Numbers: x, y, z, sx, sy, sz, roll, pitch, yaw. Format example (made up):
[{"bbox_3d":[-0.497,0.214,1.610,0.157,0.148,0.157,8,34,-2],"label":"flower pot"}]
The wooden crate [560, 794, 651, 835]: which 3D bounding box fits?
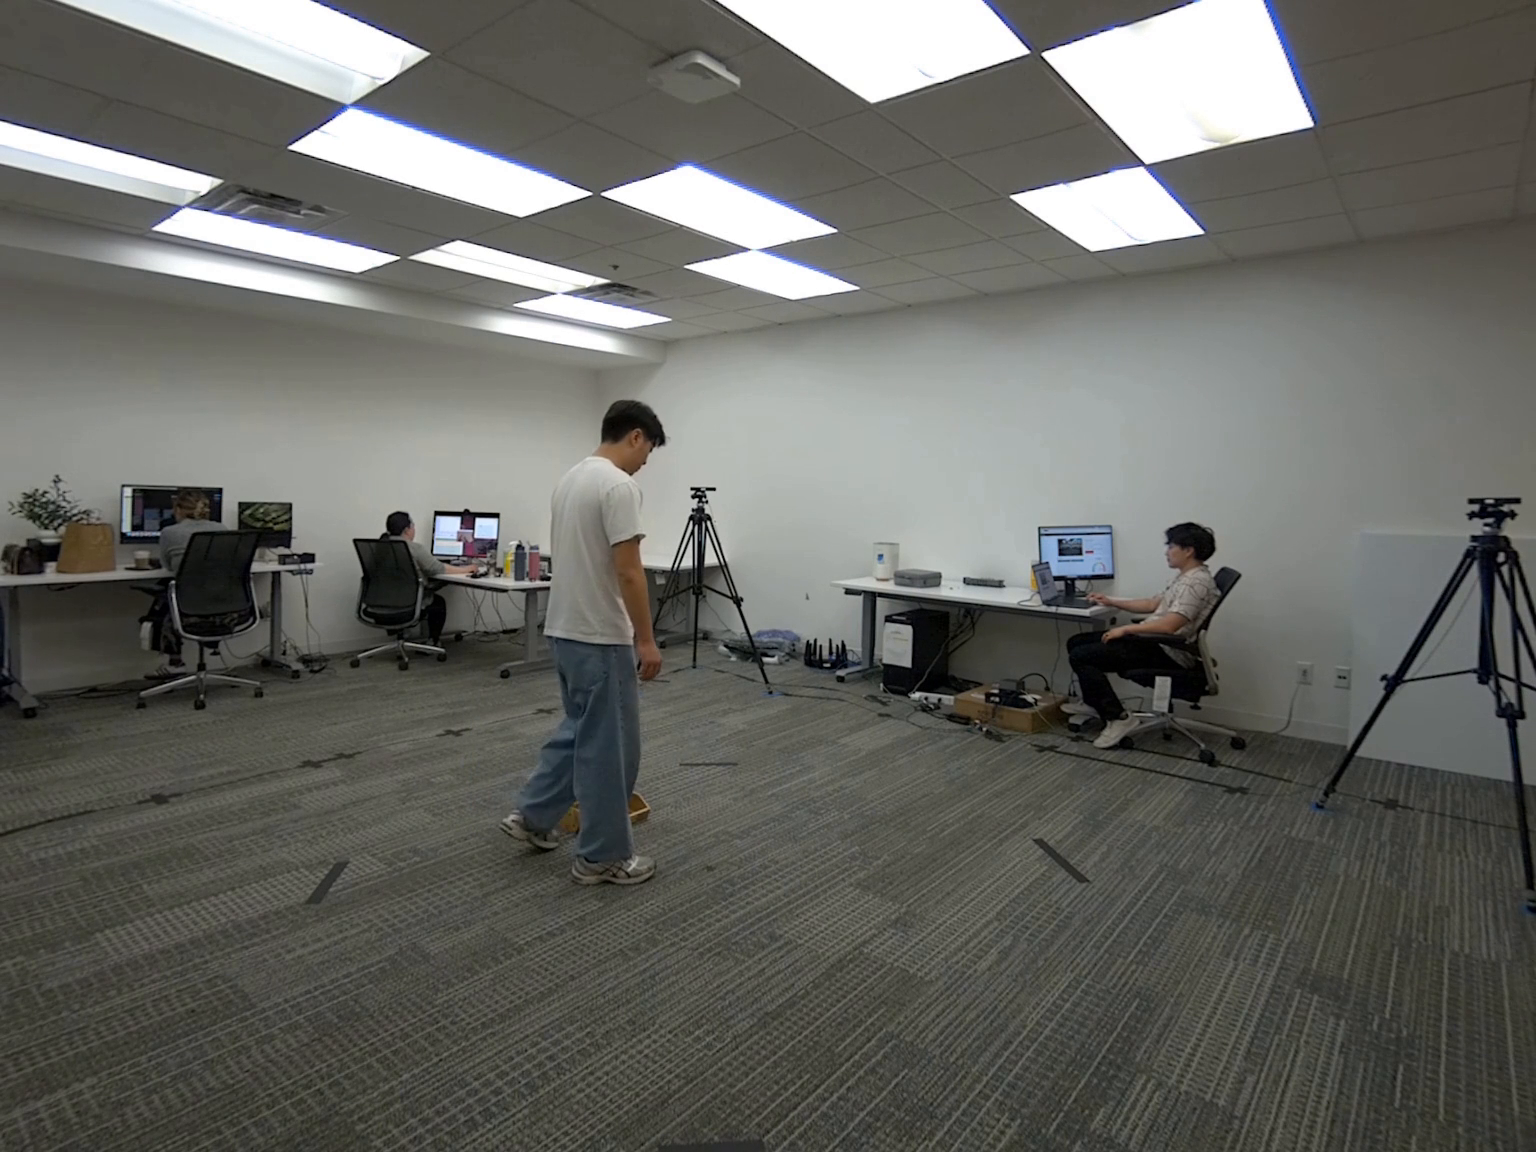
[{"bbox_3d":[-0.706,0.877,3.531,0.312,0.273,0.315,3,4,38],"label":"wooden crate"}]
